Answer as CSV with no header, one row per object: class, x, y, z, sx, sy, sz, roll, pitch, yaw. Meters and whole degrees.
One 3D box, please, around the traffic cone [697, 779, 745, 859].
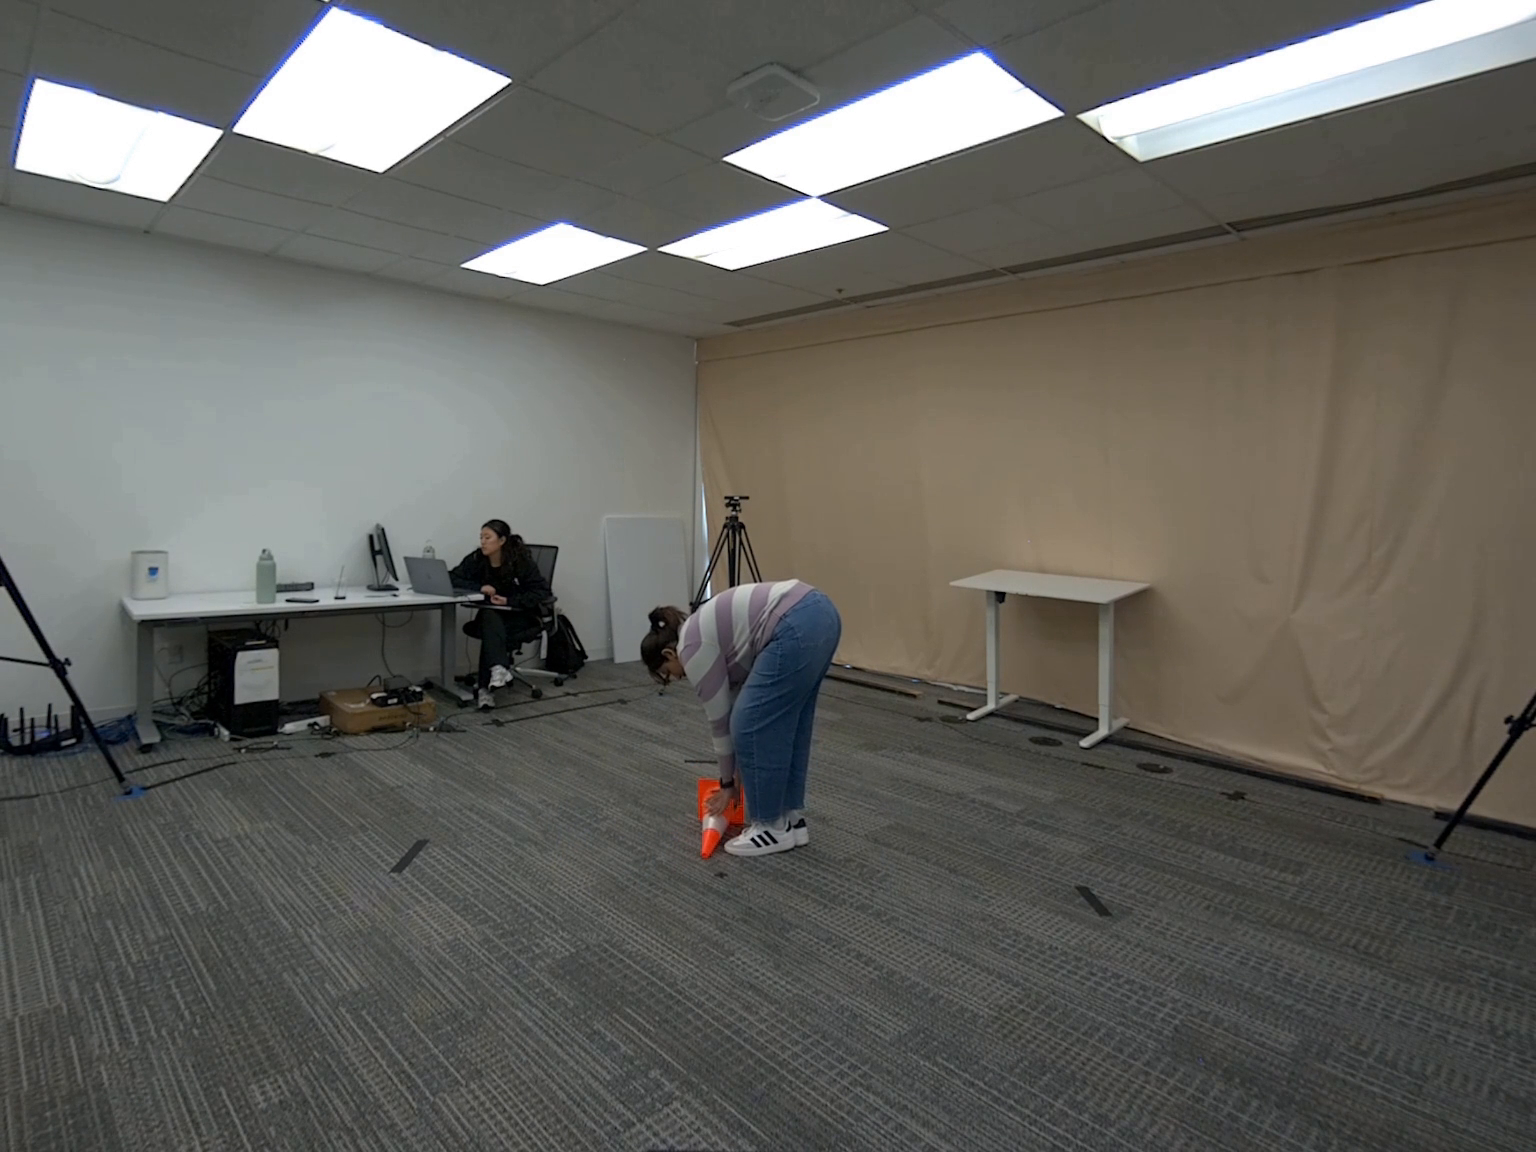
traffic cone,-0.234,1.009,3.417,0.206,0.201,0.385,1,16,8
